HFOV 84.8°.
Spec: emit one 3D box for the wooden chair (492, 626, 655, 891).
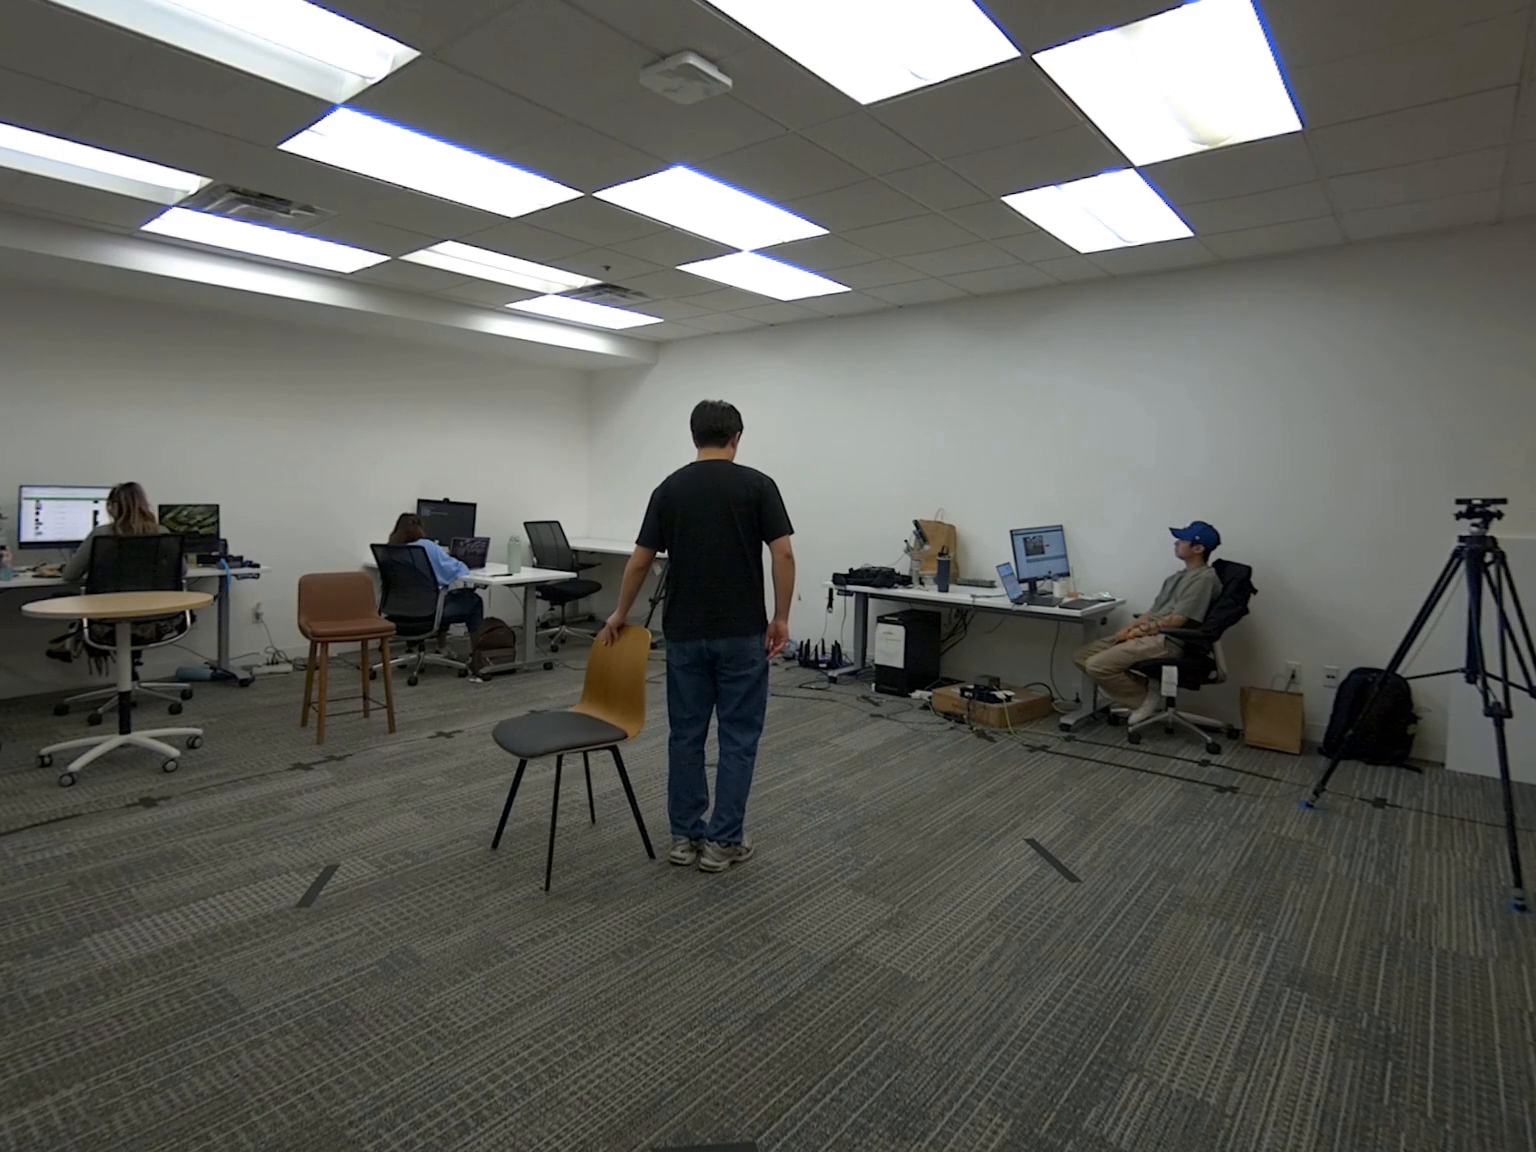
[{"bbox_3d":[-0.744,0.625,3.198,0.506,0.877,0.494,4,0,-42],"label":"wooden chair"}]
